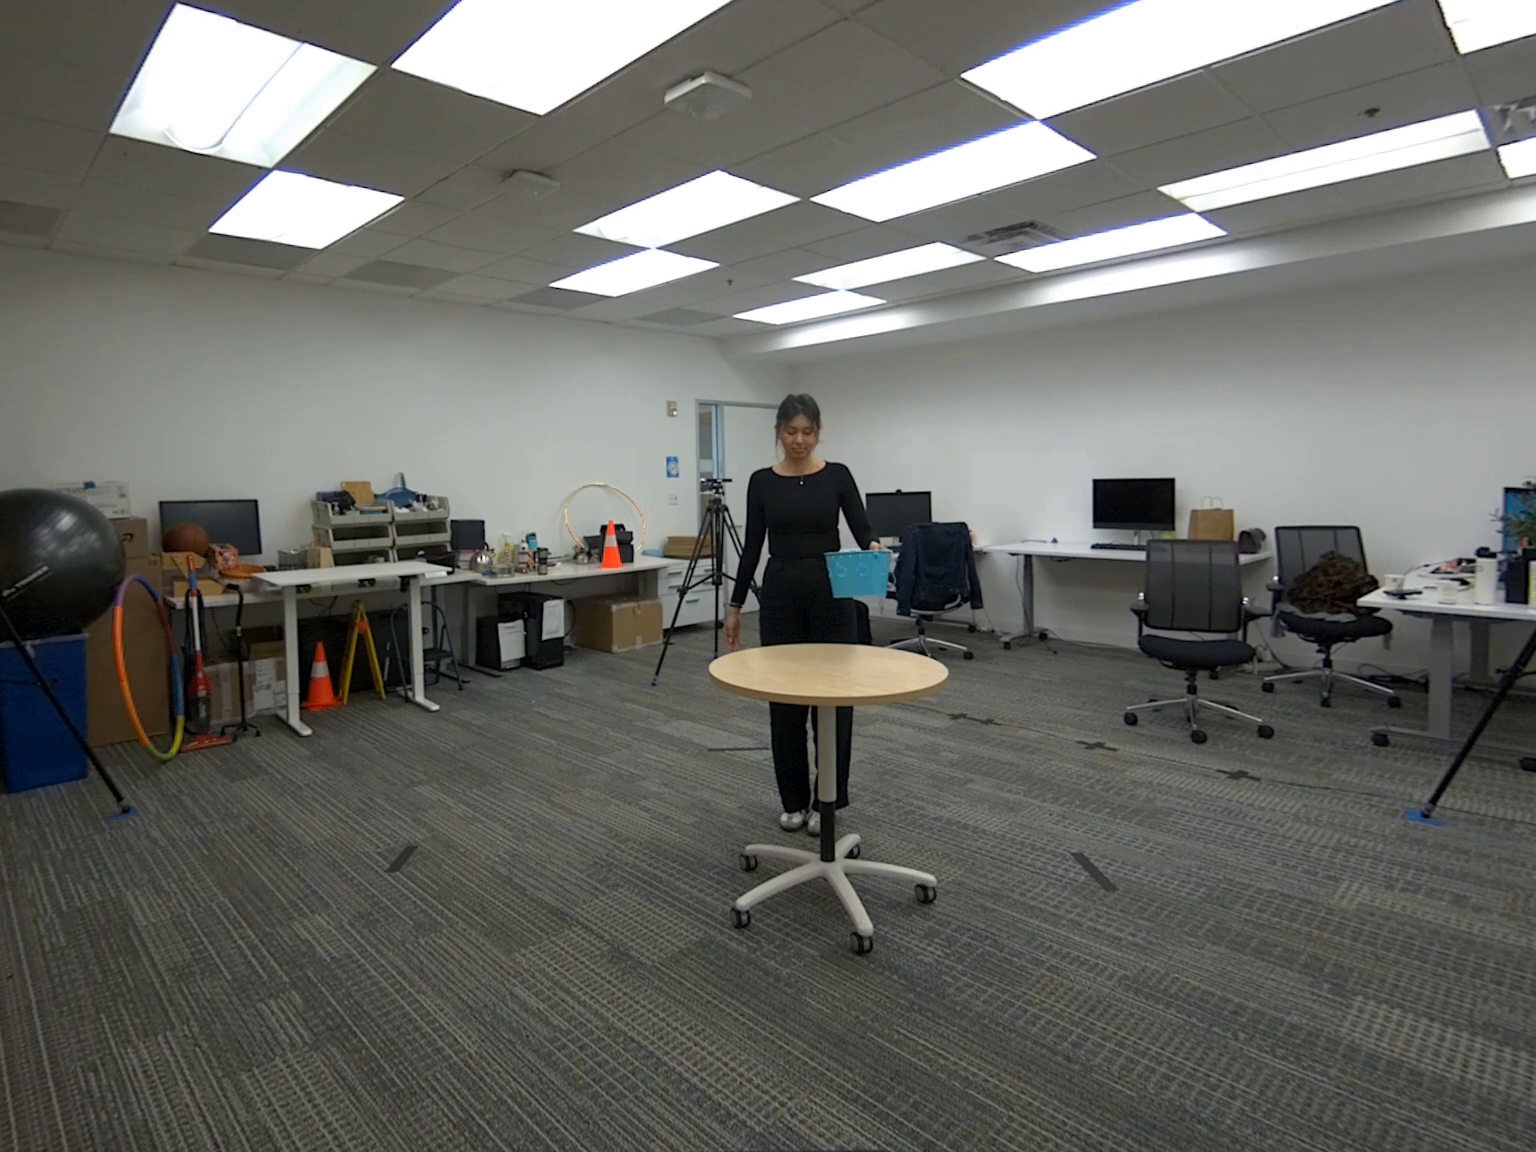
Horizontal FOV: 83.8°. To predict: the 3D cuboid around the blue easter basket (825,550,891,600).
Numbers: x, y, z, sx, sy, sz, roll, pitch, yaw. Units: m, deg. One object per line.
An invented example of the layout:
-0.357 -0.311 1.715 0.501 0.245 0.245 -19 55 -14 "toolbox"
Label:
0.325 -0.007 2.949 0.243 0.156 0.244 0 0 -2 "blue easter basket"
